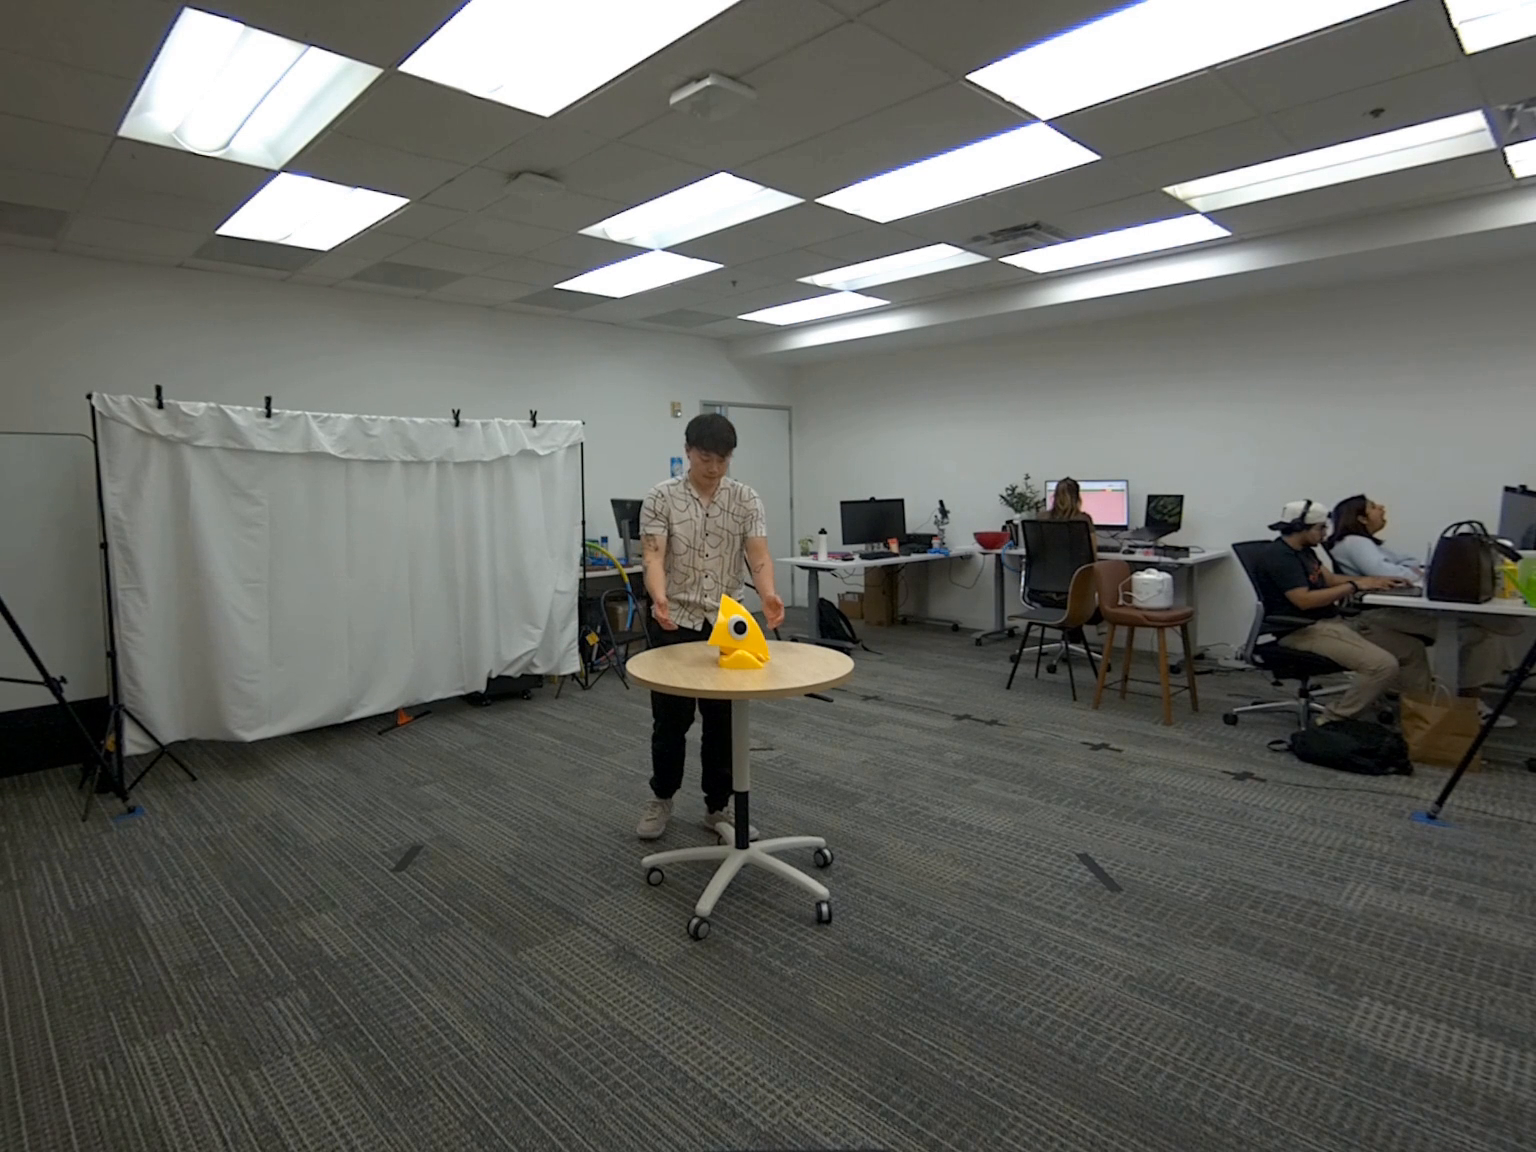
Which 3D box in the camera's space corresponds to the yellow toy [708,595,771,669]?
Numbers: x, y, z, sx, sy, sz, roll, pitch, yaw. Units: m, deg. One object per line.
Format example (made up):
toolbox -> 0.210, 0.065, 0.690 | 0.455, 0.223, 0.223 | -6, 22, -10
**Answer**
yellow toy -> -0.092, 0.177, 2.872 | 0.195, 0.230, 0.203 | 0, 5, 12
